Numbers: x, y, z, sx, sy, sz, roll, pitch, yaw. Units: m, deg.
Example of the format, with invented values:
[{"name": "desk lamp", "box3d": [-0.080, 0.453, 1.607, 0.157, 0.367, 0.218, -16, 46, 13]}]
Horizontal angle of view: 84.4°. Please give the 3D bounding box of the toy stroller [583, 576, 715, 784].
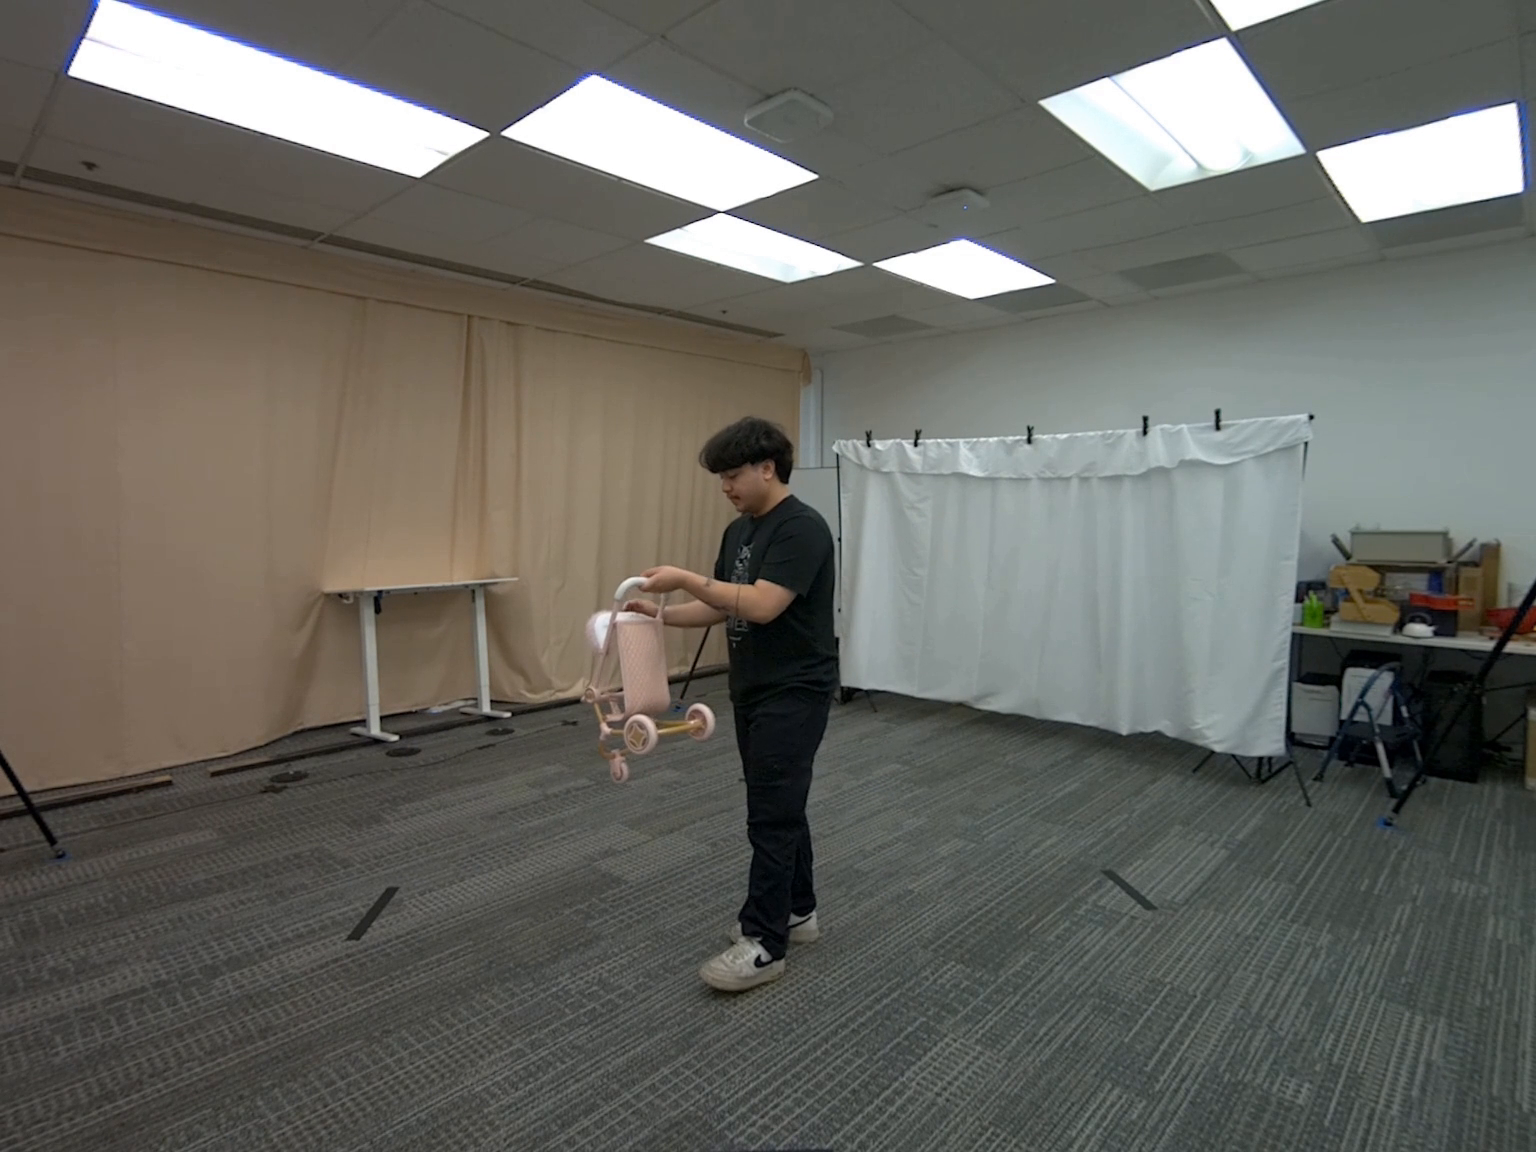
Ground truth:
[{"name": "toy stroller", "box3d": [-0.387, 0.311, 2.452, 0.348, 0.541, 0.273, -26, -16, 39]}]
